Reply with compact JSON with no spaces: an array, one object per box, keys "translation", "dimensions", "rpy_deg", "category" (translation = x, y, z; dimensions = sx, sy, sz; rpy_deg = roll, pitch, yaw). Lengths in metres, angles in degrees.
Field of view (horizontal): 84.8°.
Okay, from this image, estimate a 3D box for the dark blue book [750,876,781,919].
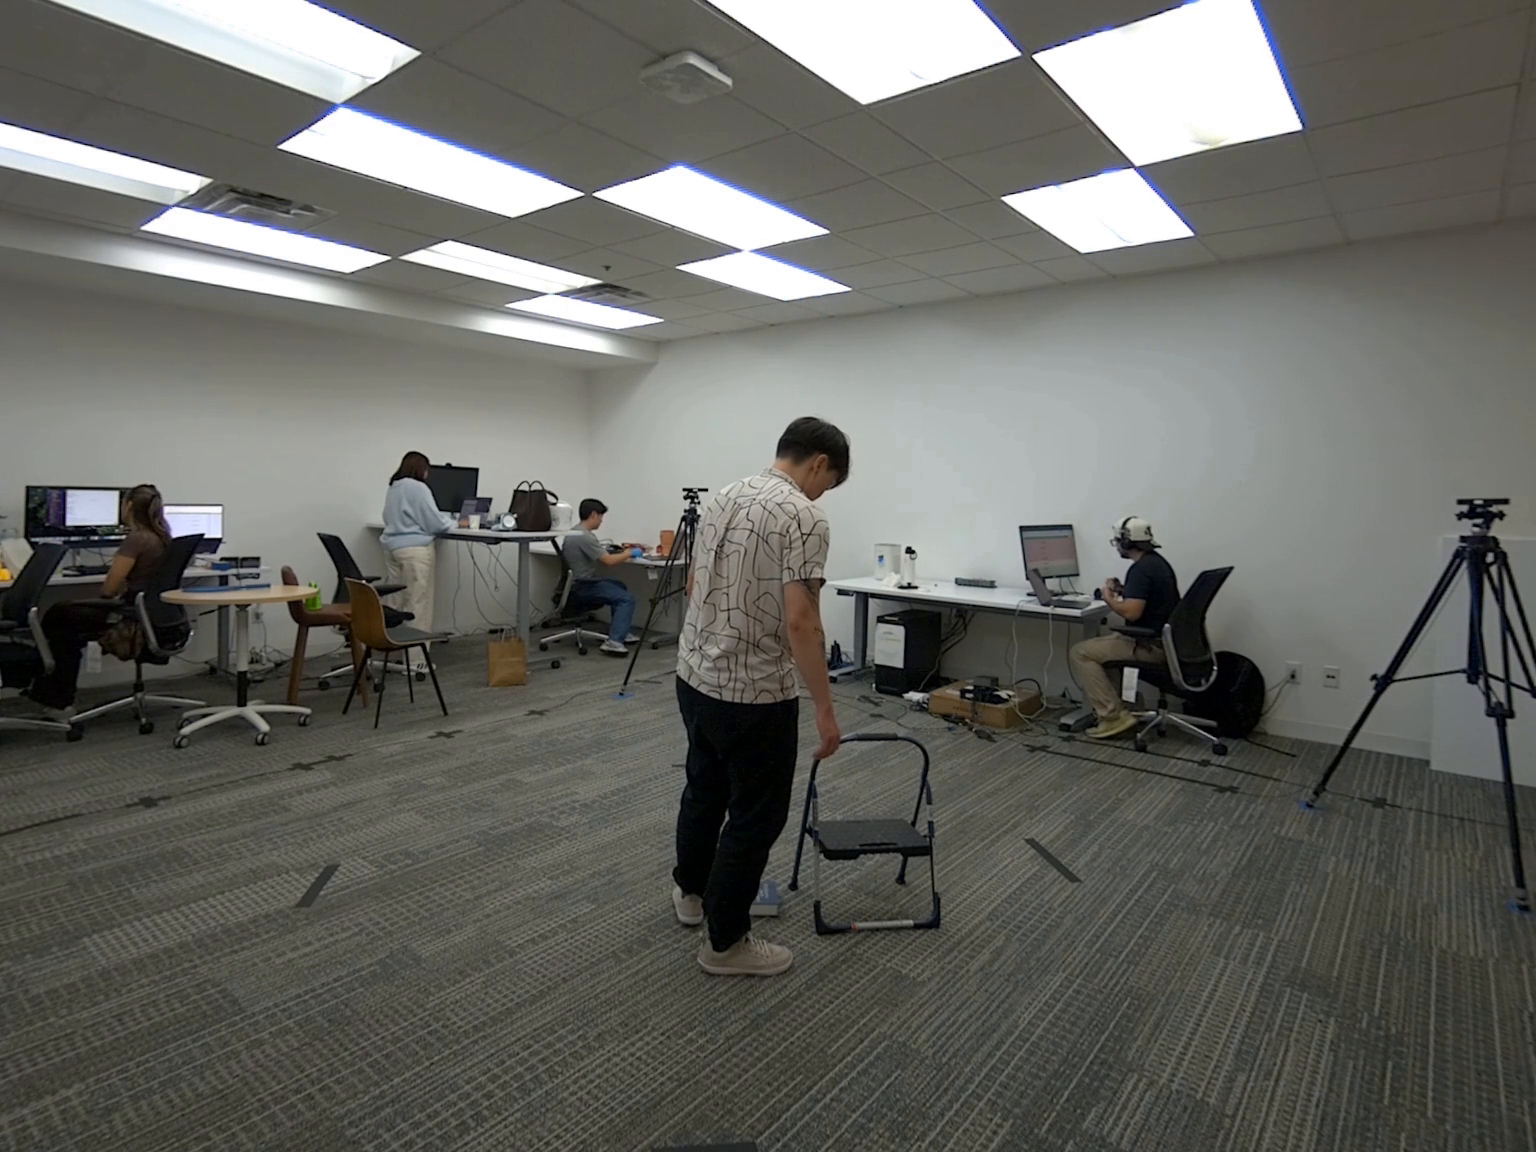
[{"translation":[-0.098,1.080,2.837],"dimensions":[0.245,0.045,0.164],"rpy_deg":[1,5,-2],"category":"dark blue book"}]
